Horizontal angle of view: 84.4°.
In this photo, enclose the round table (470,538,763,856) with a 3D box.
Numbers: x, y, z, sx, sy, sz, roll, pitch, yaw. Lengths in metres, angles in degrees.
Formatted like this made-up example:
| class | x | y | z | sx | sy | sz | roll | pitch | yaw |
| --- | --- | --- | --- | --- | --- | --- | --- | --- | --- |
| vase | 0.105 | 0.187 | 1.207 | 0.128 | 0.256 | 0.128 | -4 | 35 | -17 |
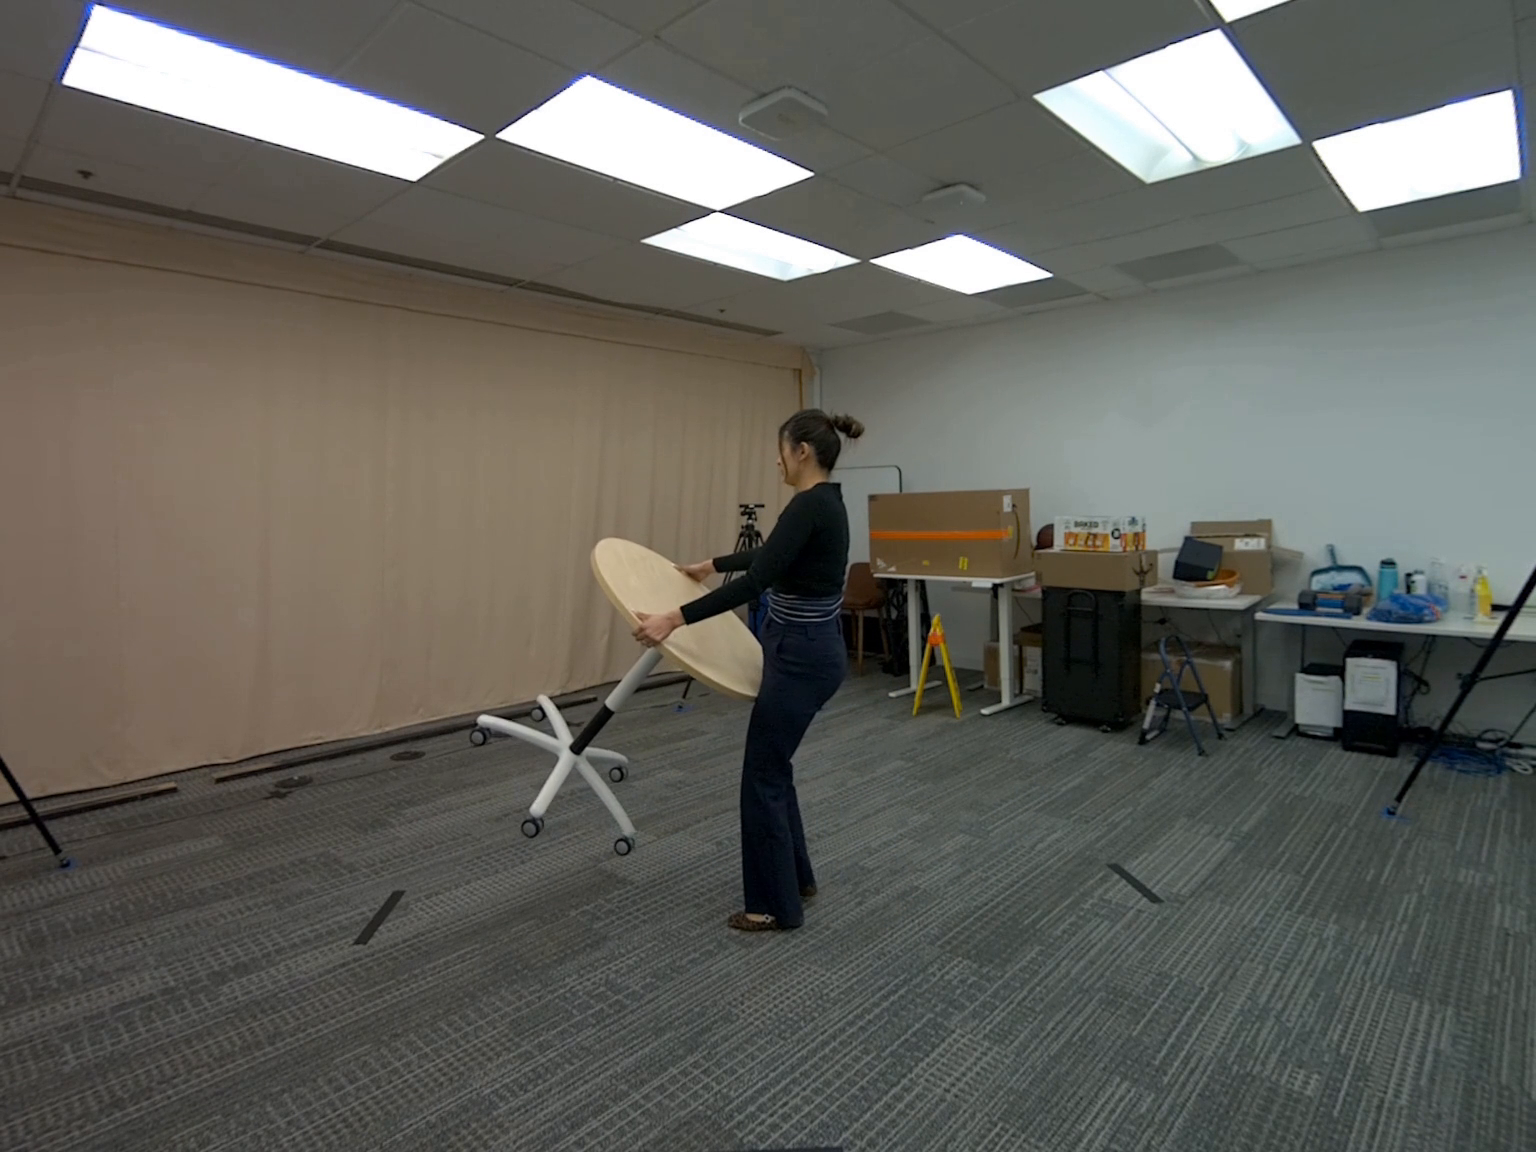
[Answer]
| class | x | y | z | sx | sy | sz | roll | pitch | yaw |
| --- | --- | --- | --- | --- | --- | --- | --- | --- | --- |
| round table | -0.517 | 0.429 | 2.913 | 0.754 | 0.796 | 0.773 | 37 | 13 | -12 |
